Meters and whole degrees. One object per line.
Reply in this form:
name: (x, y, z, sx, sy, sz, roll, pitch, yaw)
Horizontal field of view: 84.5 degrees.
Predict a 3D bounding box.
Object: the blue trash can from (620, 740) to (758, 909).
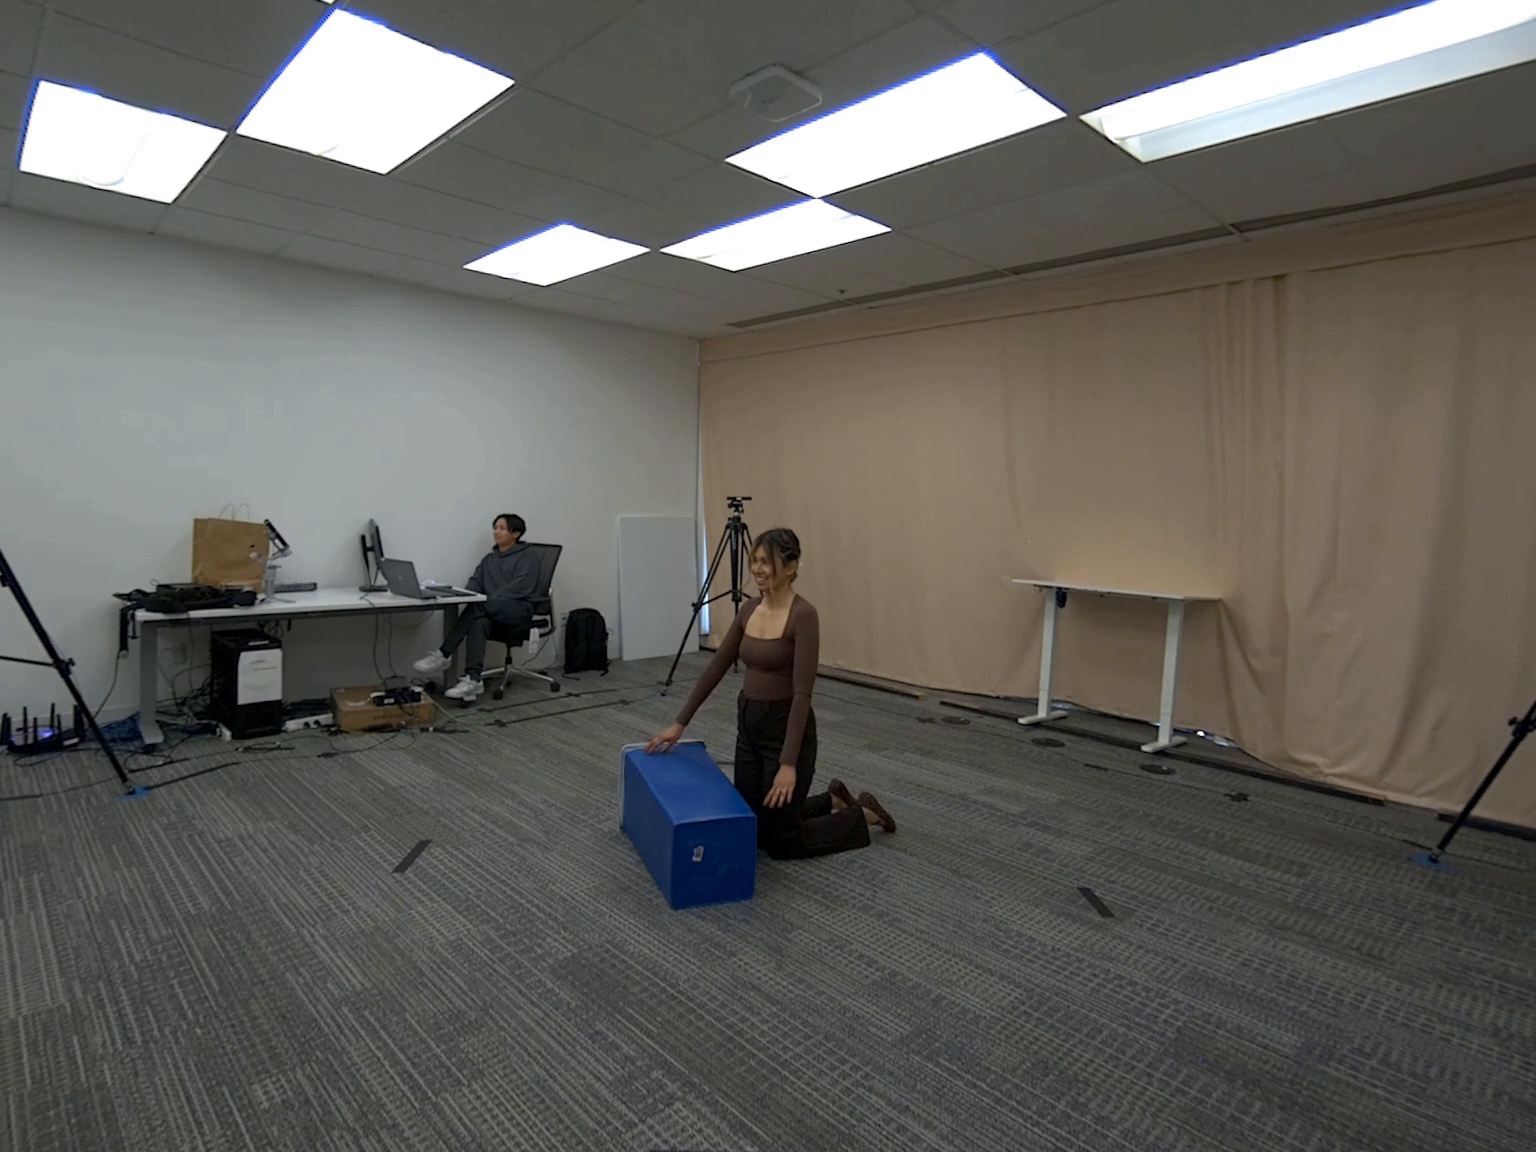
blue trash can: (-0.321, 0.919, 3.196, 0.368, 0.377, 0.727, 1, 6, -20)
